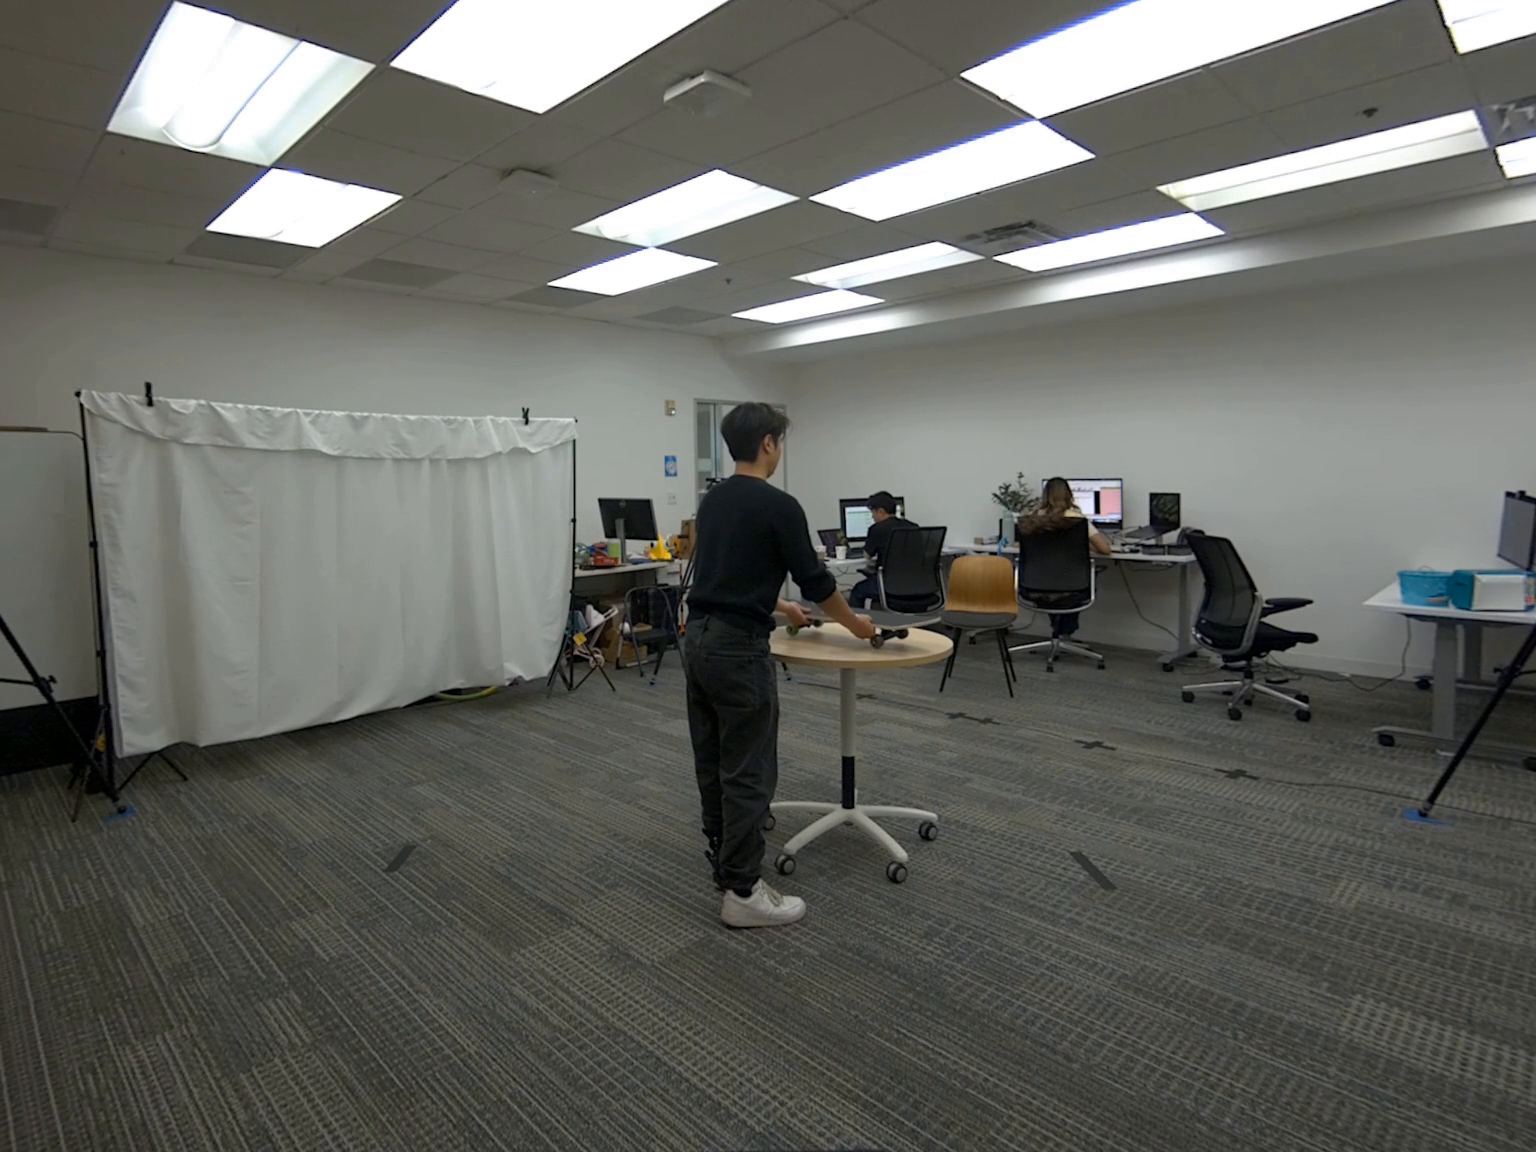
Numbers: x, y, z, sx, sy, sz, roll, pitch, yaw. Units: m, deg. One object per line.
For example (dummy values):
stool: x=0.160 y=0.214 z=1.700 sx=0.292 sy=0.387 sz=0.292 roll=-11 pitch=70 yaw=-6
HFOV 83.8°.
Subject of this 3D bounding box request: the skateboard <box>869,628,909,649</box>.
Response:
skateboard: x=0.300 y=0.186 z=3.196 sx=0.189 sy=0.109 sz=0.810 roll=-14 pitch=13 yaw=-43
